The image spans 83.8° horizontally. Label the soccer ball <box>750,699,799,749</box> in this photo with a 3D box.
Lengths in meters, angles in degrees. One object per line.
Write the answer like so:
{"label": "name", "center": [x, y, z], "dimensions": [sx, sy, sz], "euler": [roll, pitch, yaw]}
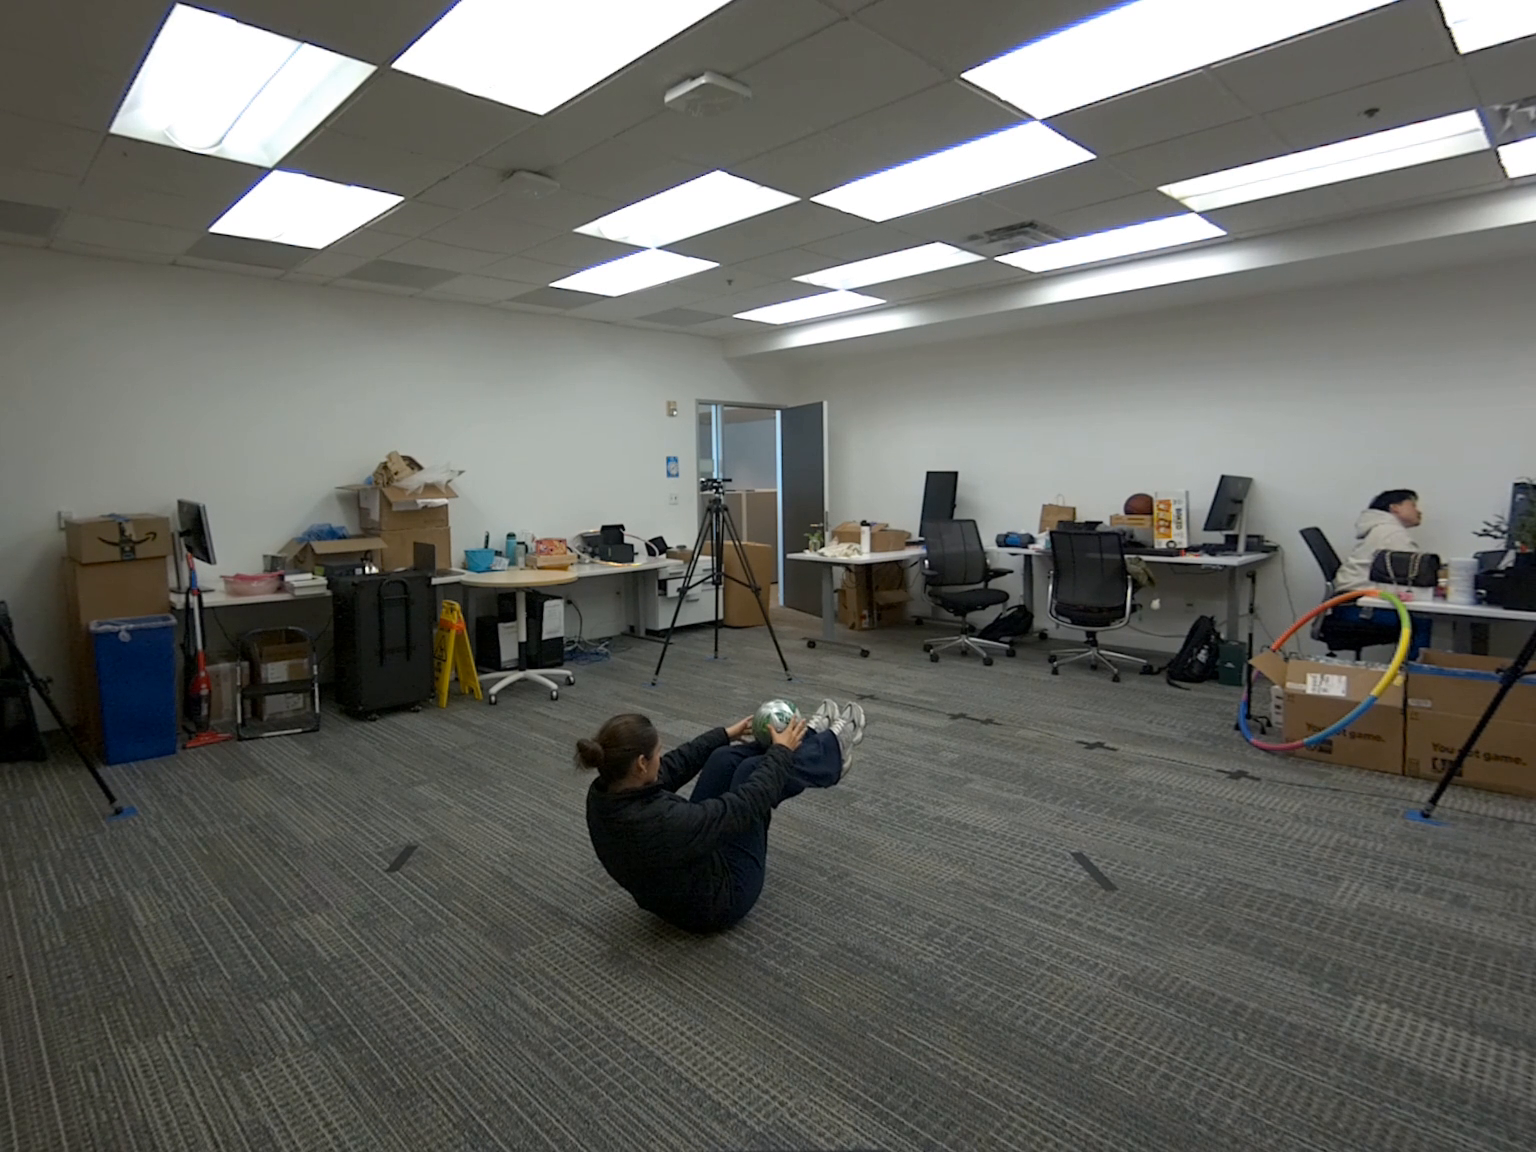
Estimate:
{"label": "soccer ball", "center": [0.049, 0.523, 2.948], "dimensions": [0.187, 0.187, 0.188], "euler": [0, 1, -2]}
